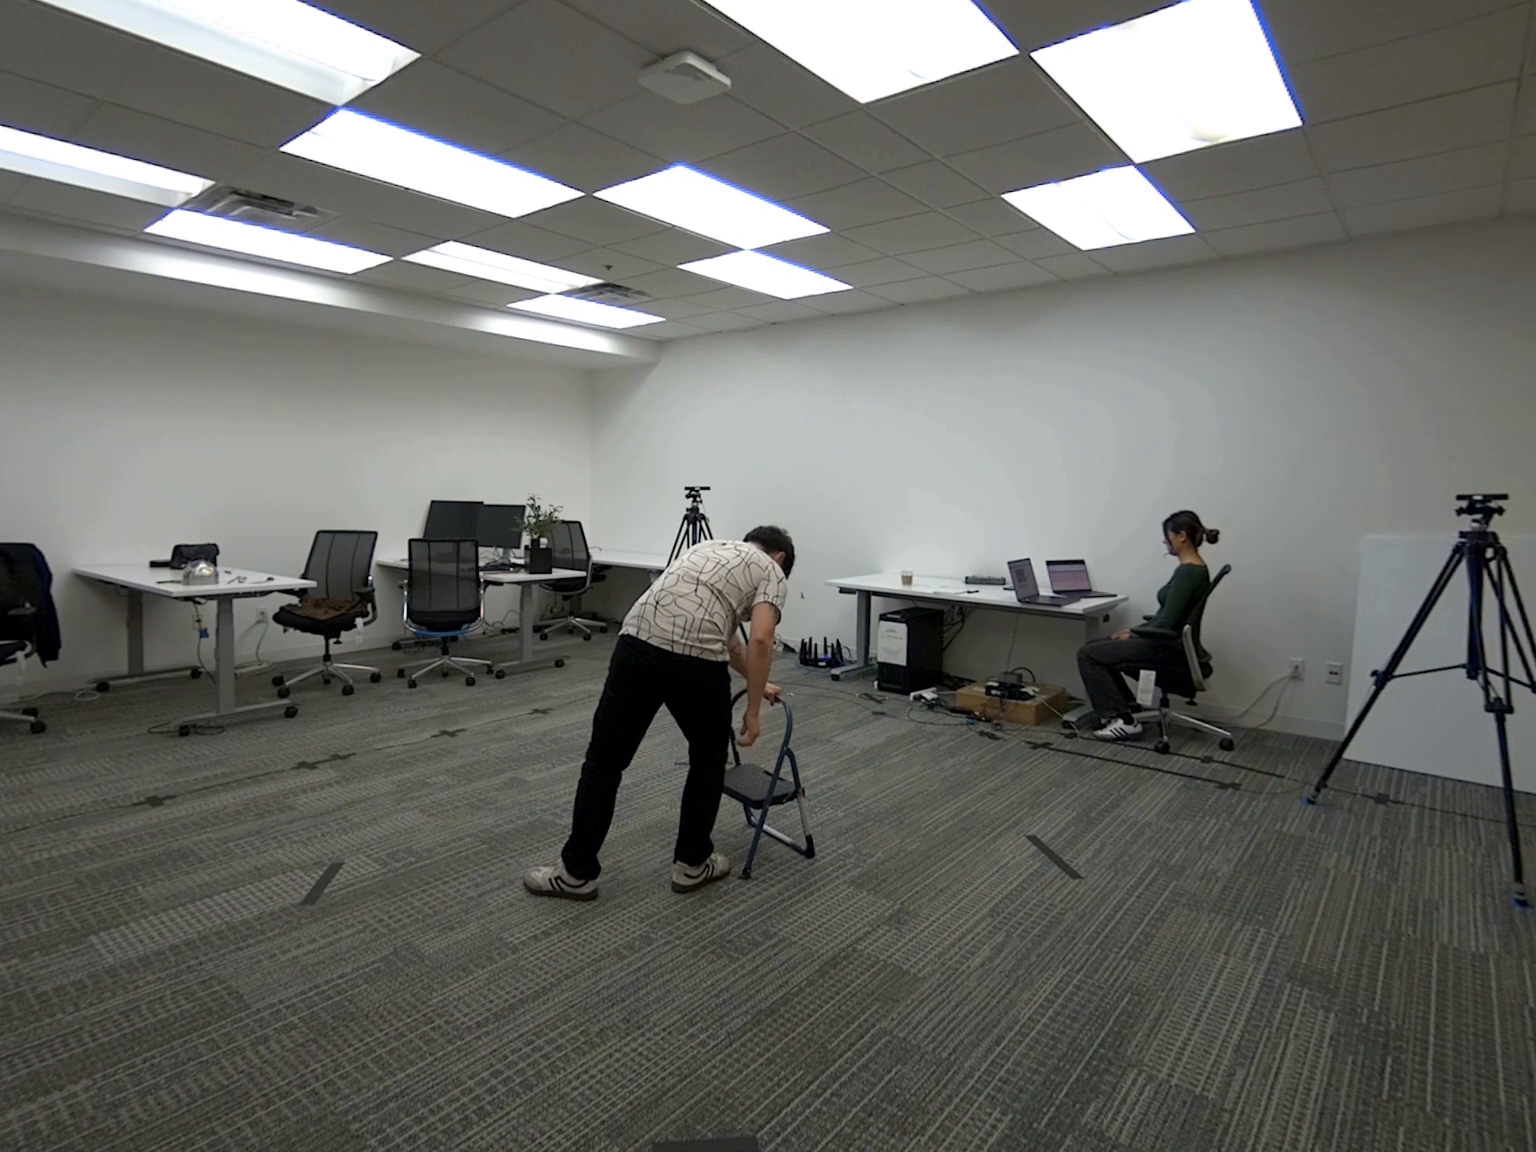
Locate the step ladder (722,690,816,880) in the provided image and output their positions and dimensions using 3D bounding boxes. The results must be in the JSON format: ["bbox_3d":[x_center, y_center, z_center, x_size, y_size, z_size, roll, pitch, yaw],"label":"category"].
[{"bbox_3d":[-0.082,0.744,3.273,0.339,0.605,0.445,-1,4,-37],"label":"step ladder"}]
